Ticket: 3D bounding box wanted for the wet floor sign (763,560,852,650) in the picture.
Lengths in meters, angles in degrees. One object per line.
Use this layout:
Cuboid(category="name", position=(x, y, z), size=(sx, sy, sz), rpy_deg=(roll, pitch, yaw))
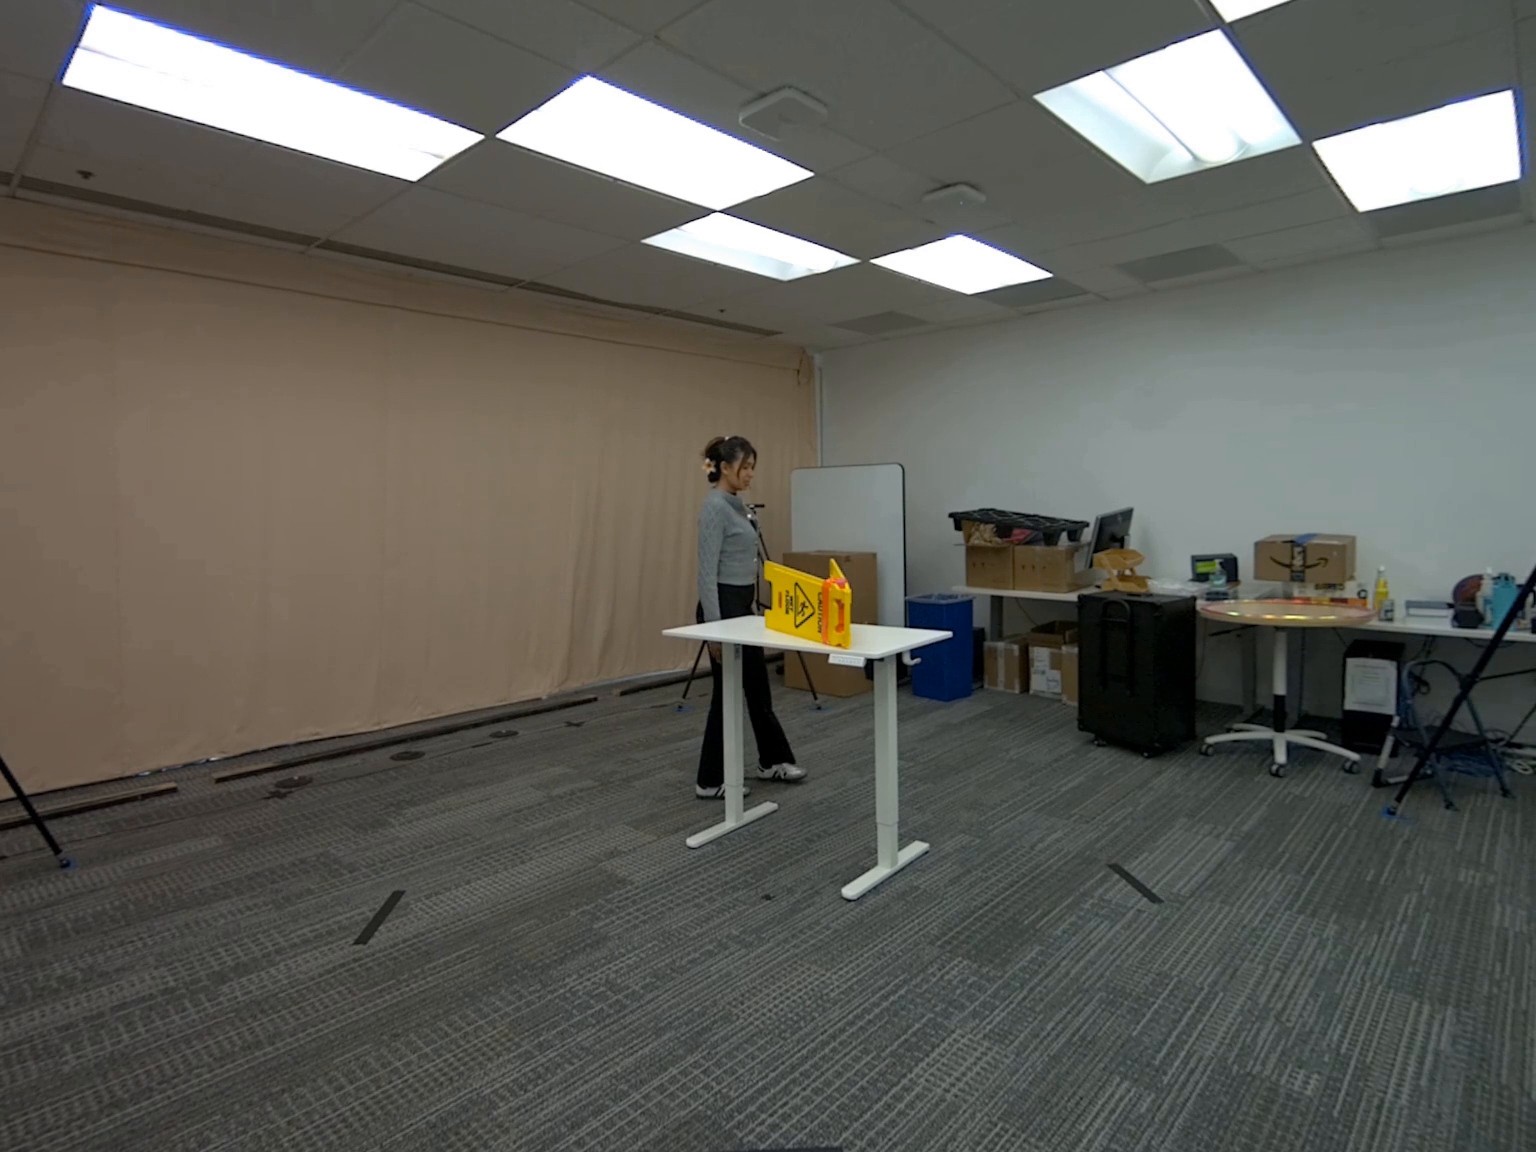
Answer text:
Cuboid(category="wet floor sign", position=(0.212, 0.112, 3.210), size=(0.286, 0.281, 0.657), rpy_deg=(-2, 7, -13))
